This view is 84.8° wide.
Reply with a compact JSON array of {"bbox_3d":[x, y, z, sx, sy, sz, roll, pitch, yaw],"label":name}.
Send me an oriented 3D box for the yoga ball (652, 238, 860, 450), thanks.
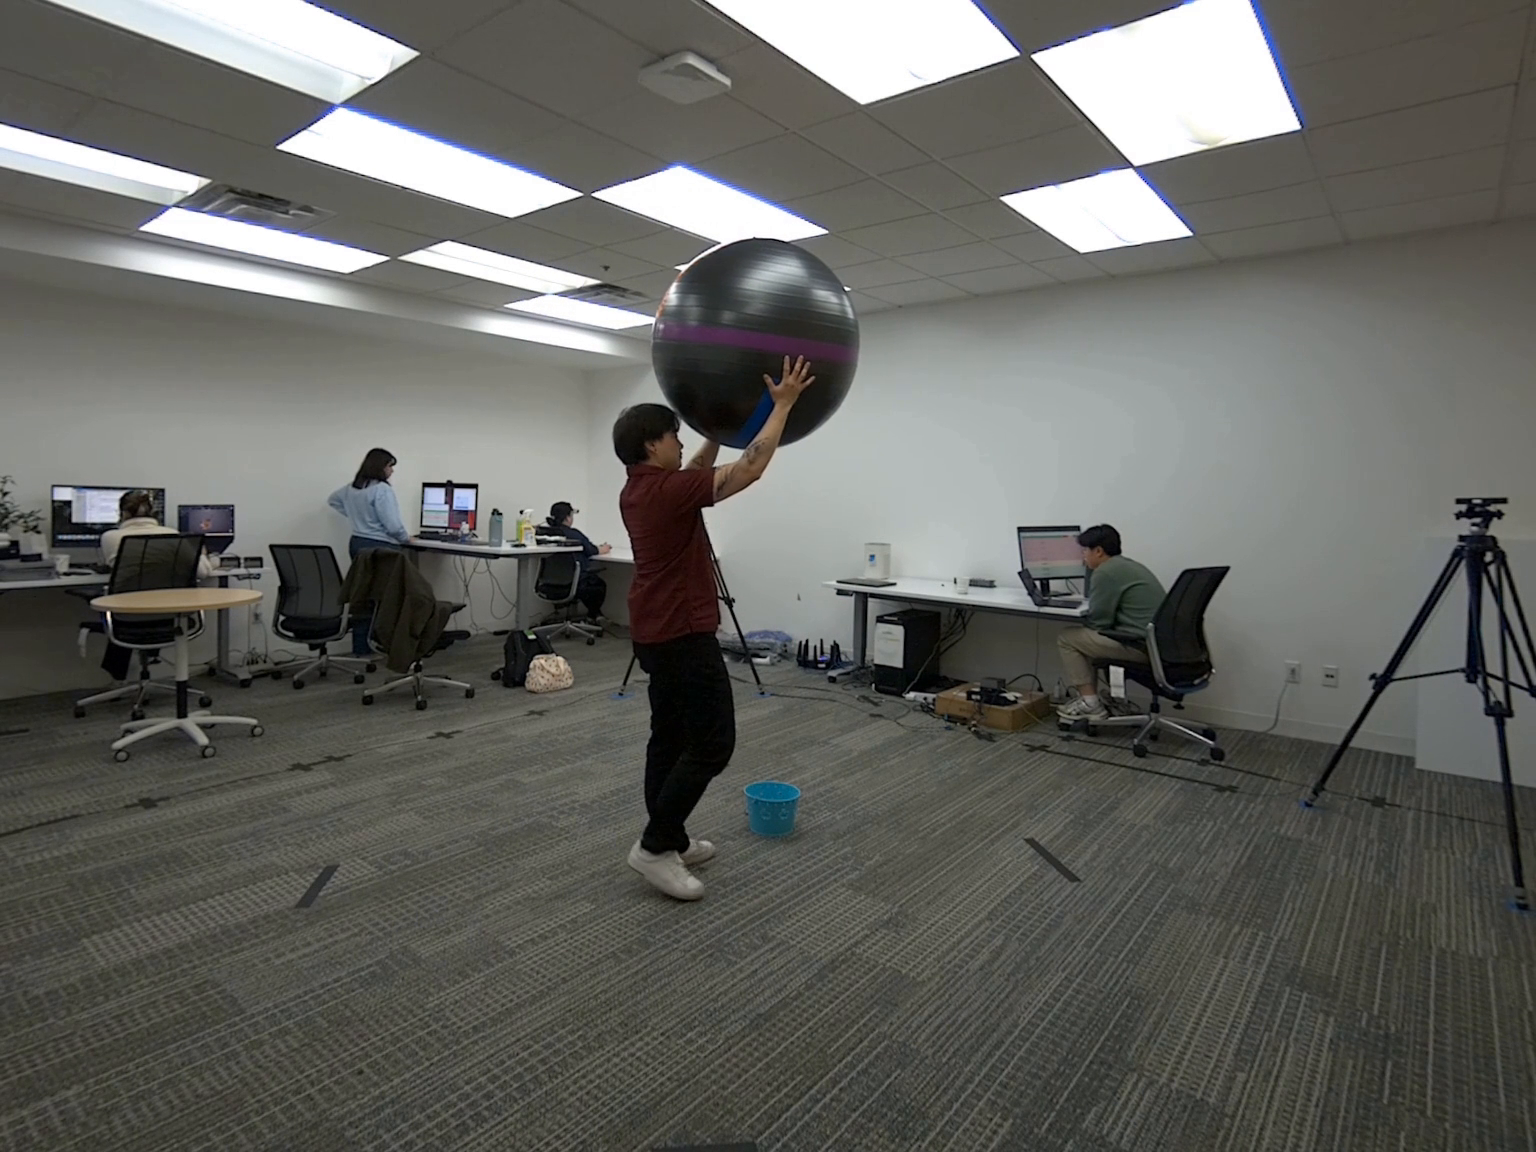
[{"bbox_3d":[-0.055,-0.844,3.124,0.757,0.755,0.762,1,4,-2],"label":"yoga ball"}]
